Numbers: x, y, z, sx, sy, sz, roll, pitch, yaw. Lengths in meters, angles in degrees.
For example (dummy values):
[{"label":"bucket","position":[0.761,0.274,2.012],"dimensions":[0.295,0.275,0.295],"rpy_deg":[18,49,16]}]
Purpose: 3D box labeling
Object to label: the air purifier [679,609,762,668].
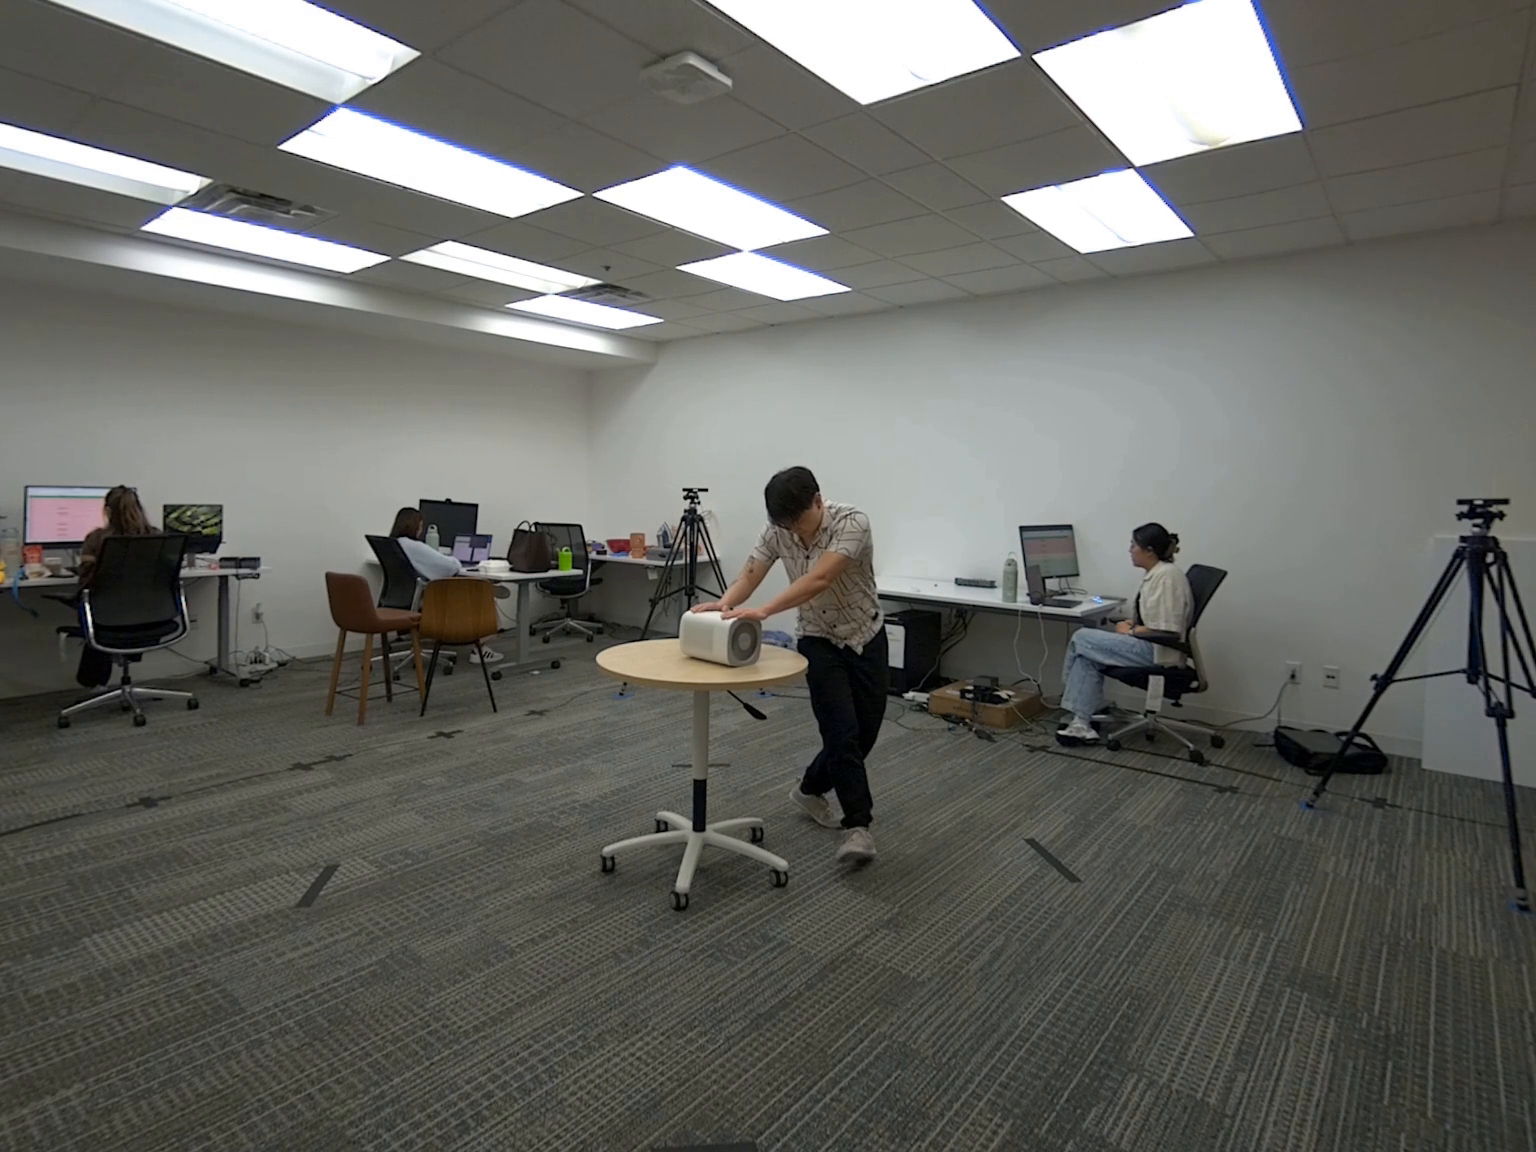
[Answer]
[{"label":"air purifier","position":[-0.188,0.213,3.048],"dimensions":[0.274,0.171,0.165],"rpy_deg":[6,3,43]}]
